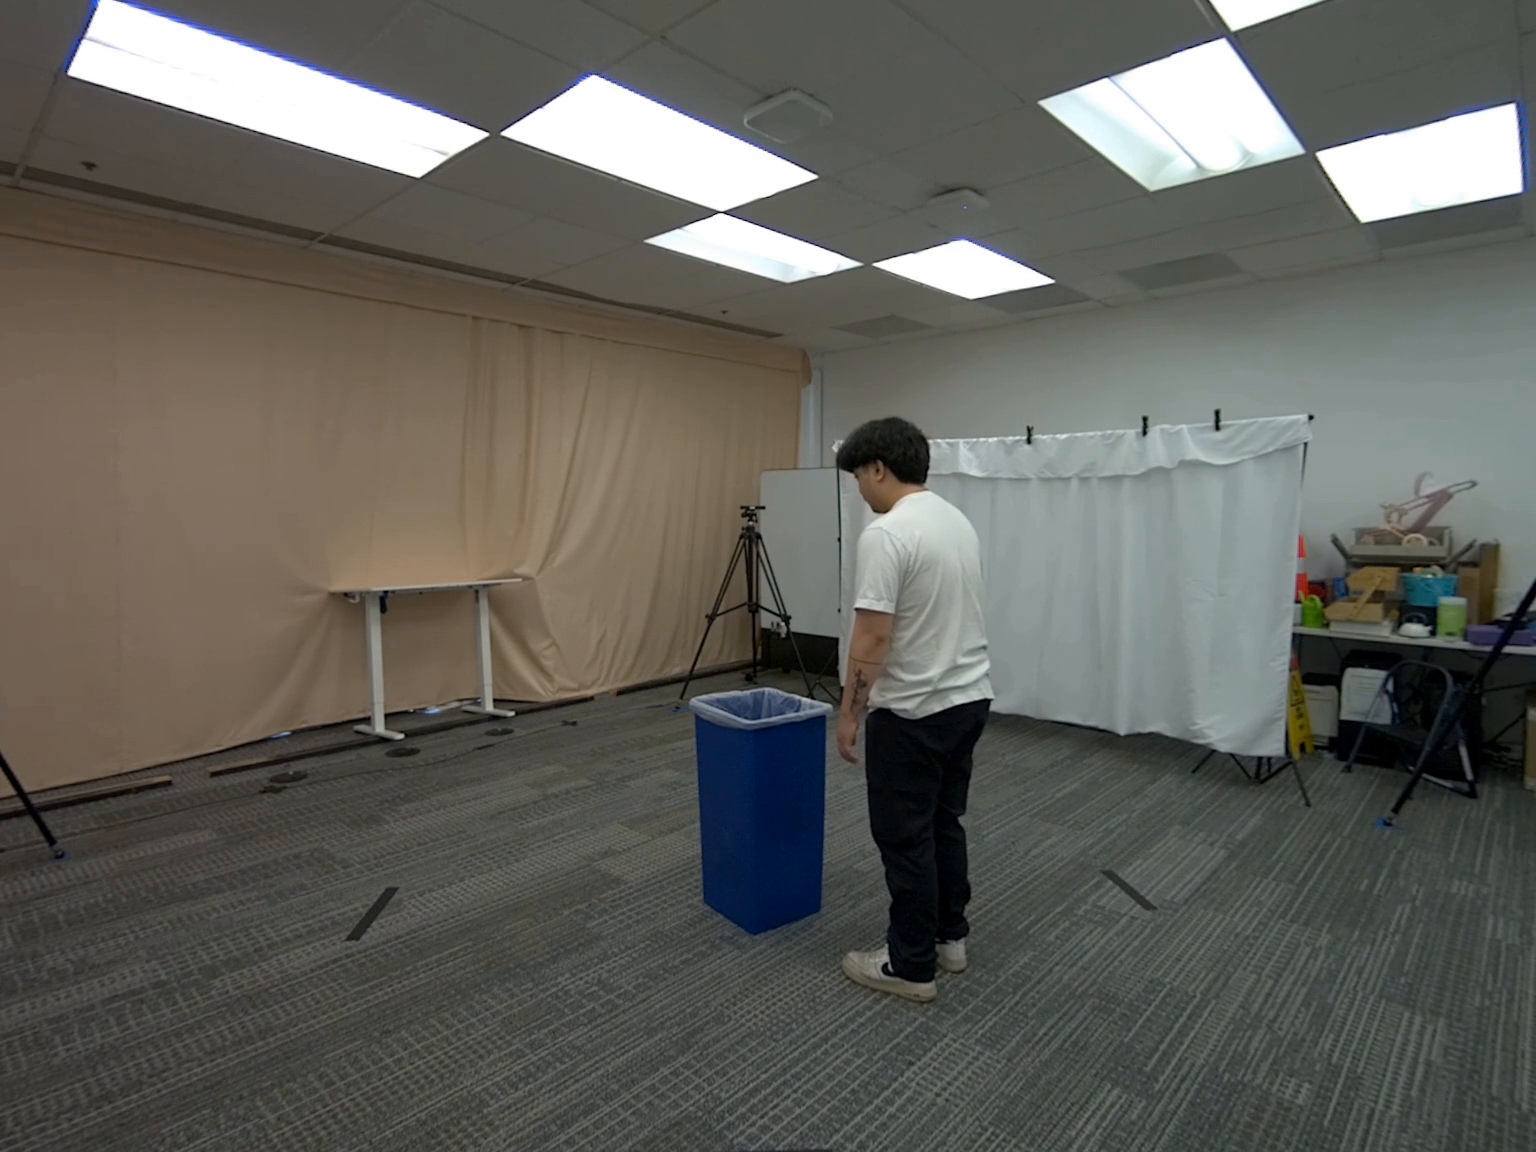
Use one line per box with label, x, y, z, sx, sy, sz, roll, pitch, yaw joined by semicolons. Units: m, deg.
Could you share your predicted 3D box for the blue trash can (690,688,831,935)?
blue trash can;-0.026;0.791;2.906;0.363;0.712;0.390;-2;4;-37
